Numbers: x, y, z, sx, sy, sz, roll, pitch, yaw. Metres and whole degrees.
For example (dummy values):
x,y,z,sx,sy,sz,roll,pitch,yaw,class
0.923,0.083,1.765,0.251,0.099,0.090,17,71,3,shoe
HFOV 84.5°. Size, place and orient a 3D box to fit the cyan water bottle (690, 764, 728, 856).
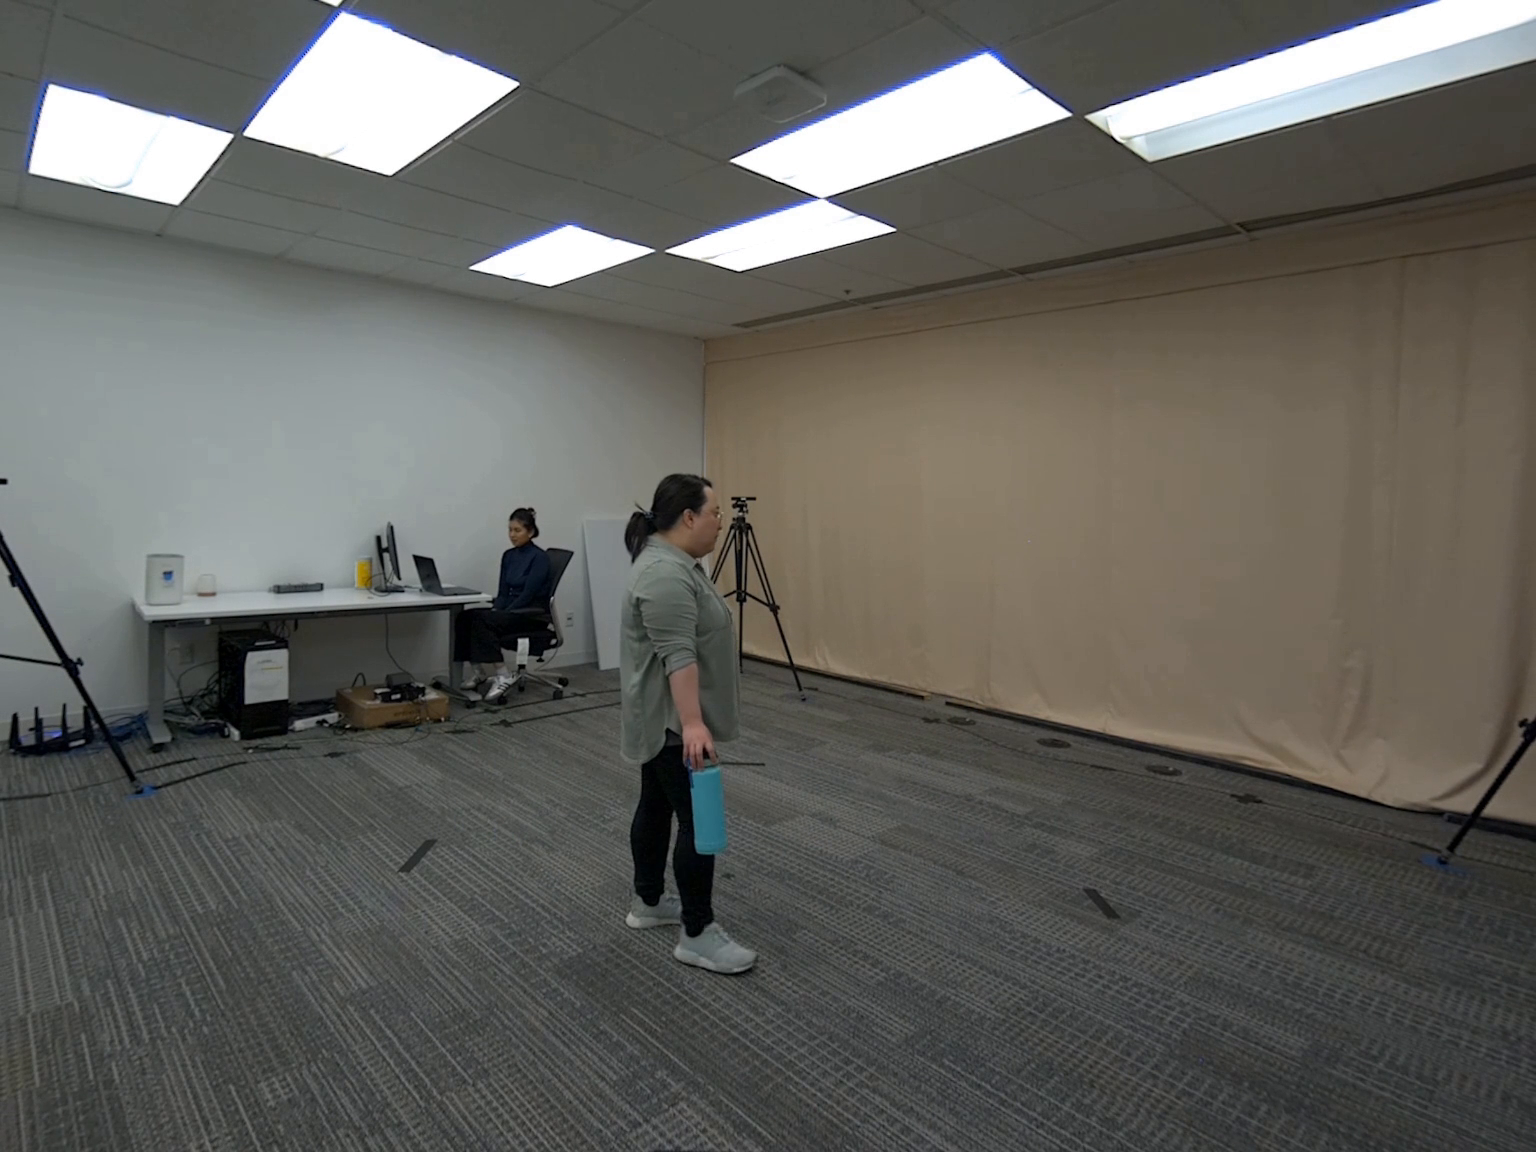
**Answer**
x,y,z,sx,sy,sz,roll,pitch,yaw,class
-0.183,0.620,2.329,0.092,0.284,0.092,-3,-3,-1,cyan water bottle
